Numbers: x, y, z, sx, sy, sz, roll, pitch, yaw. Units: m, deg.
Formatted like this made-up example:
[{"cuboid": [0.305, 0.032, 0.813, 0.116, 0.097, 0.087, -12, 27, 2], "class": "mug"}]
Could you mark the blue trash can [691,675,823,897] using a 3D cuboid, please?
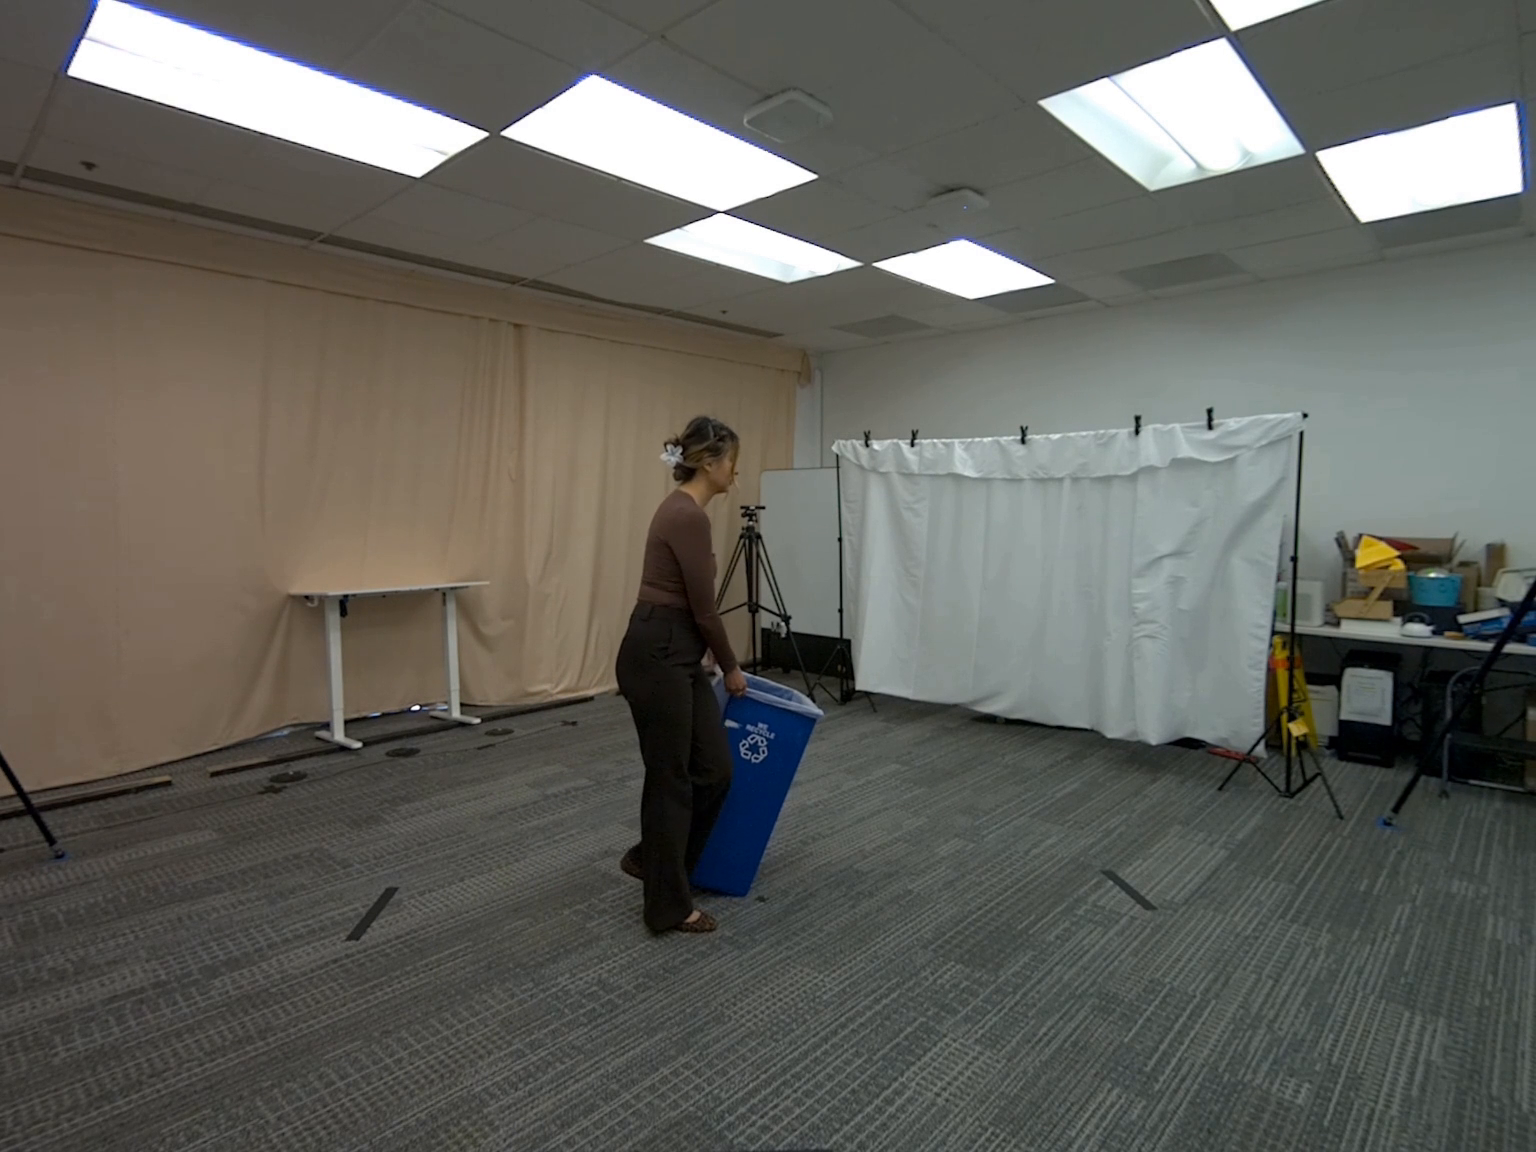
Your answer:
[{"cuboid": [-0.112, 0.749, 3.111, 0.373, 0.713, 0.379, 19, 0, -13], "class": "blue trash can"}]
